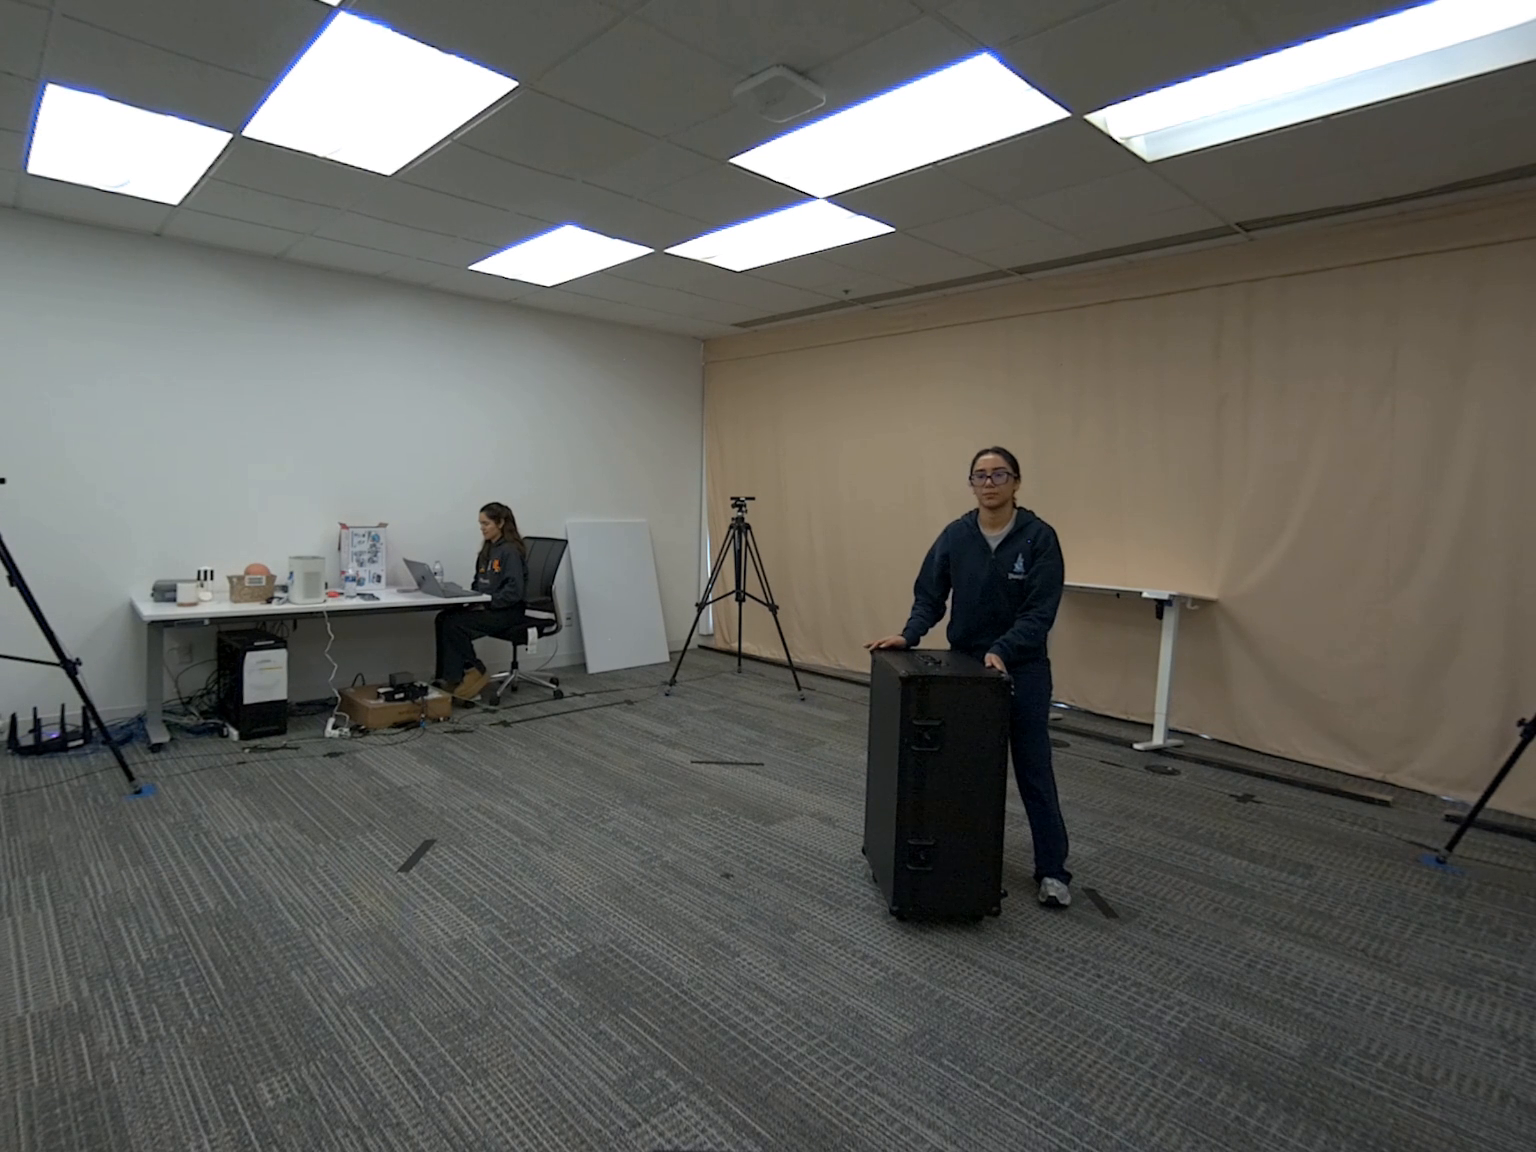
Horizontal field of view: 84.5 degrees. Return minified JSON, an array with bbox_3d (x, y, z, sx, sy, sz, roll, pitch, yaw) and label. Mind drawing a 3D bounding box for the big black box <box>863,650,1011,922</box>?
[{"bbox_3d":[0.567,0.714,2.923,0.395,0.859,0.524,2,4,-4],"label":"big black box"}]
